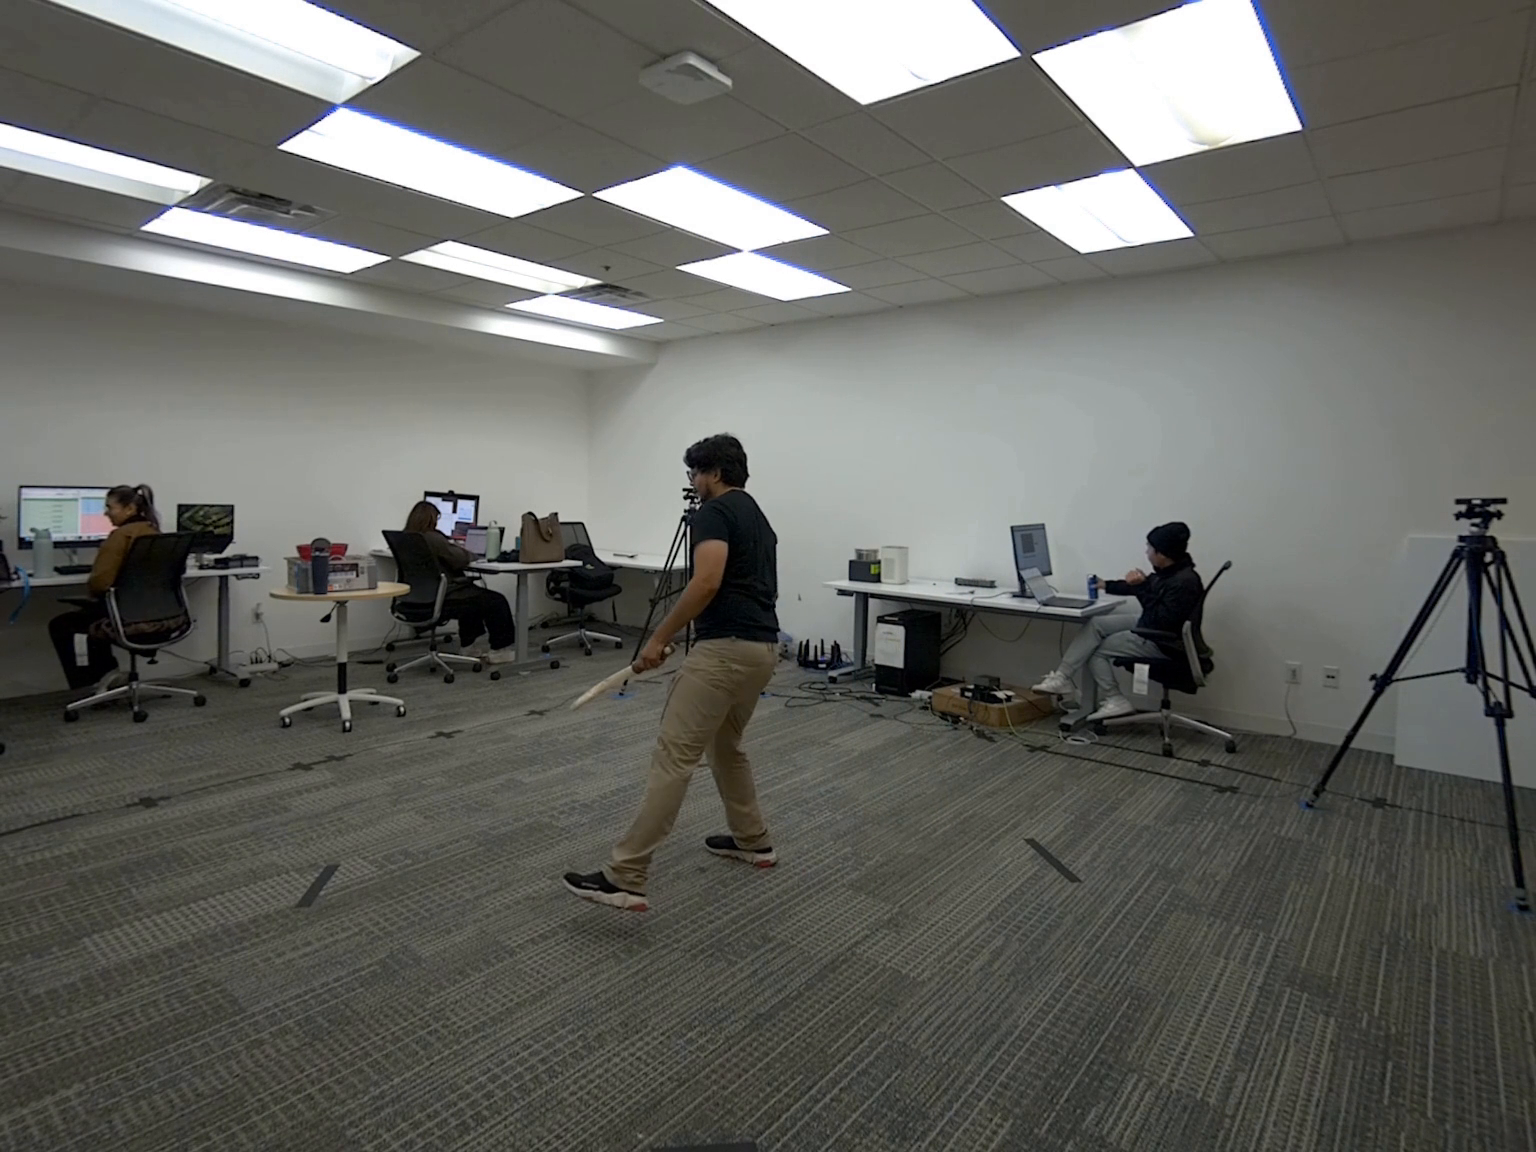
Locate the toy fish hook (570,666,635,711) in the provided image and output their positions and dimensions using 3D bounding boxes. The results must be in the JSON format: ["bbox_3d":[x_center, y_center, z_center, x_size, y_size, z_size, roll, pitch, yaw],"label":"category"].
[{"bbox_3d":[-0.533,0.370,2.962,0.511,0.048,0.223,-31,7,31],"label":"toy fish hook"}]
